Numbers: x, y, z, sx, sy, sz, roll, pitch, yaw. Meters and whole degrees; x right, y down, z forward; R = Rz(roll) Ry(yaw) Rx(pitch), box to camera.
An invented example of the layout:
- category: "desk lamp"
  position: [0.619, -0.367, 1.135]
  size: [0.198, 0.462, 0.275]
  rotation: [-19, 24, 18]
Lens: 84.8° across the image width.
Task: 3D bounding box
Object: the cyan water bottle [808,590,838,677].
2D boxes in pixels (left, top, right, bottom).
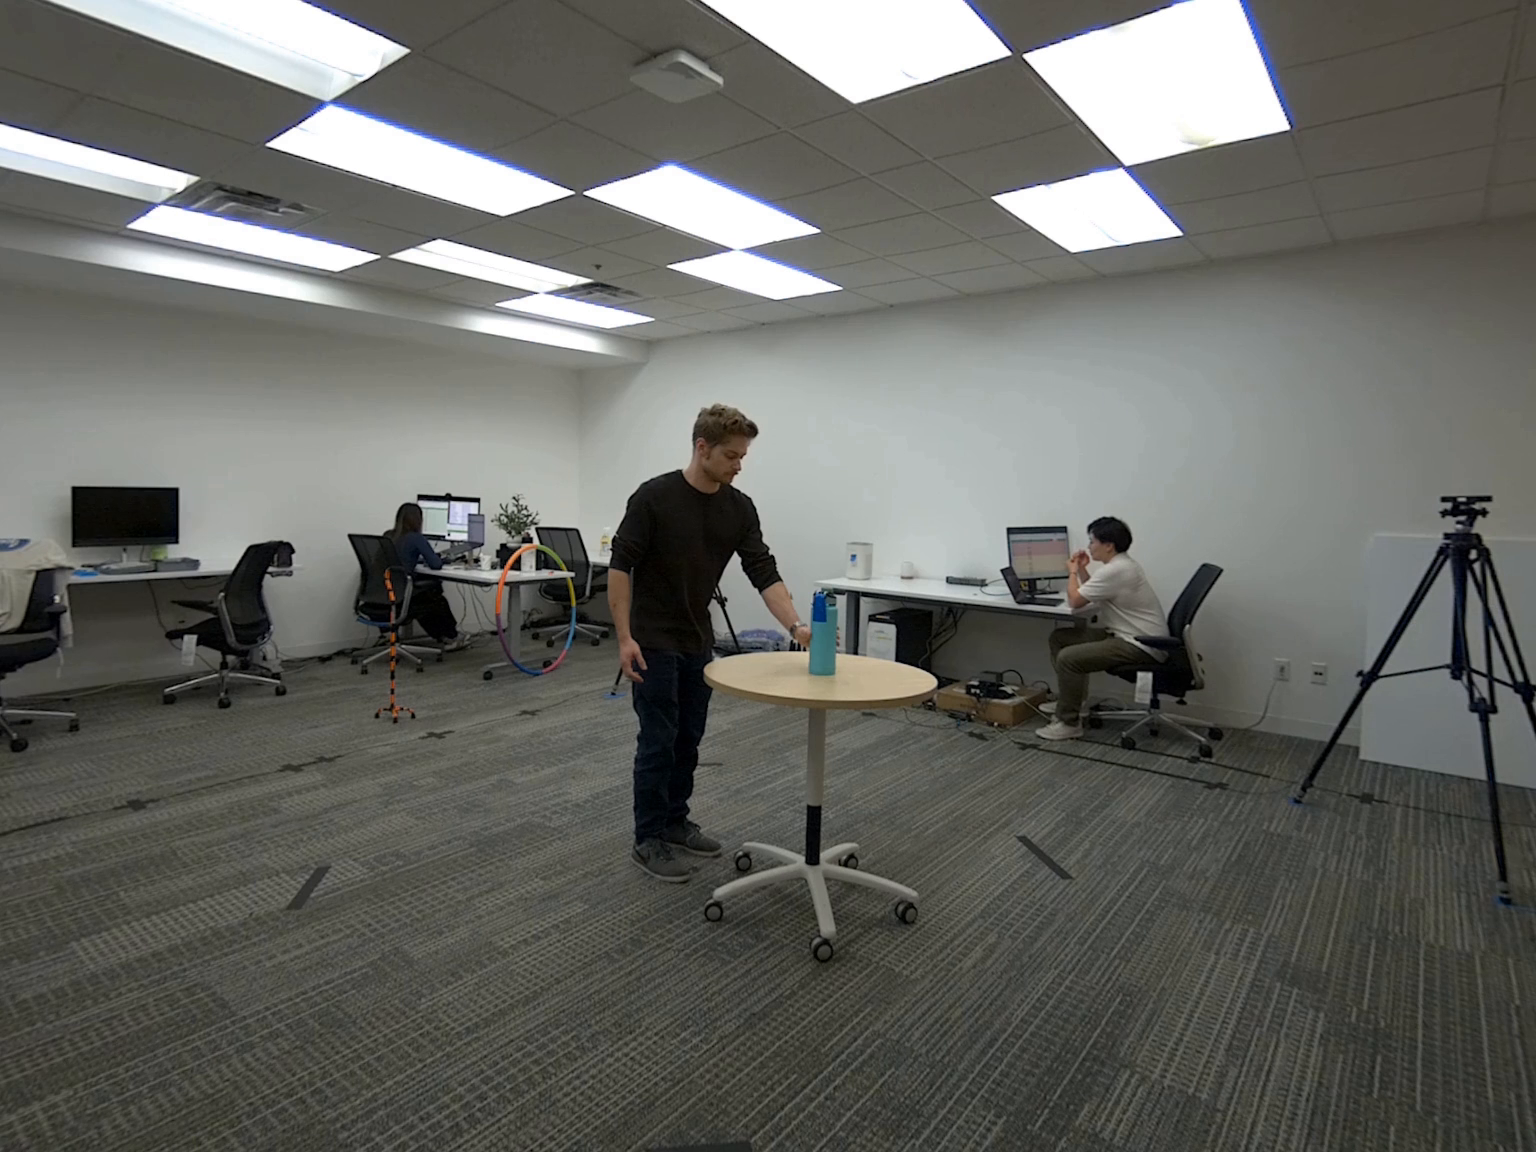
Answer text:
- category: "cyan water bottle"
  position: [0.182, 0.182, 2.821]
  size: [0.092, 0.282, 0.093]
  rotation: [2, 4, -2]
